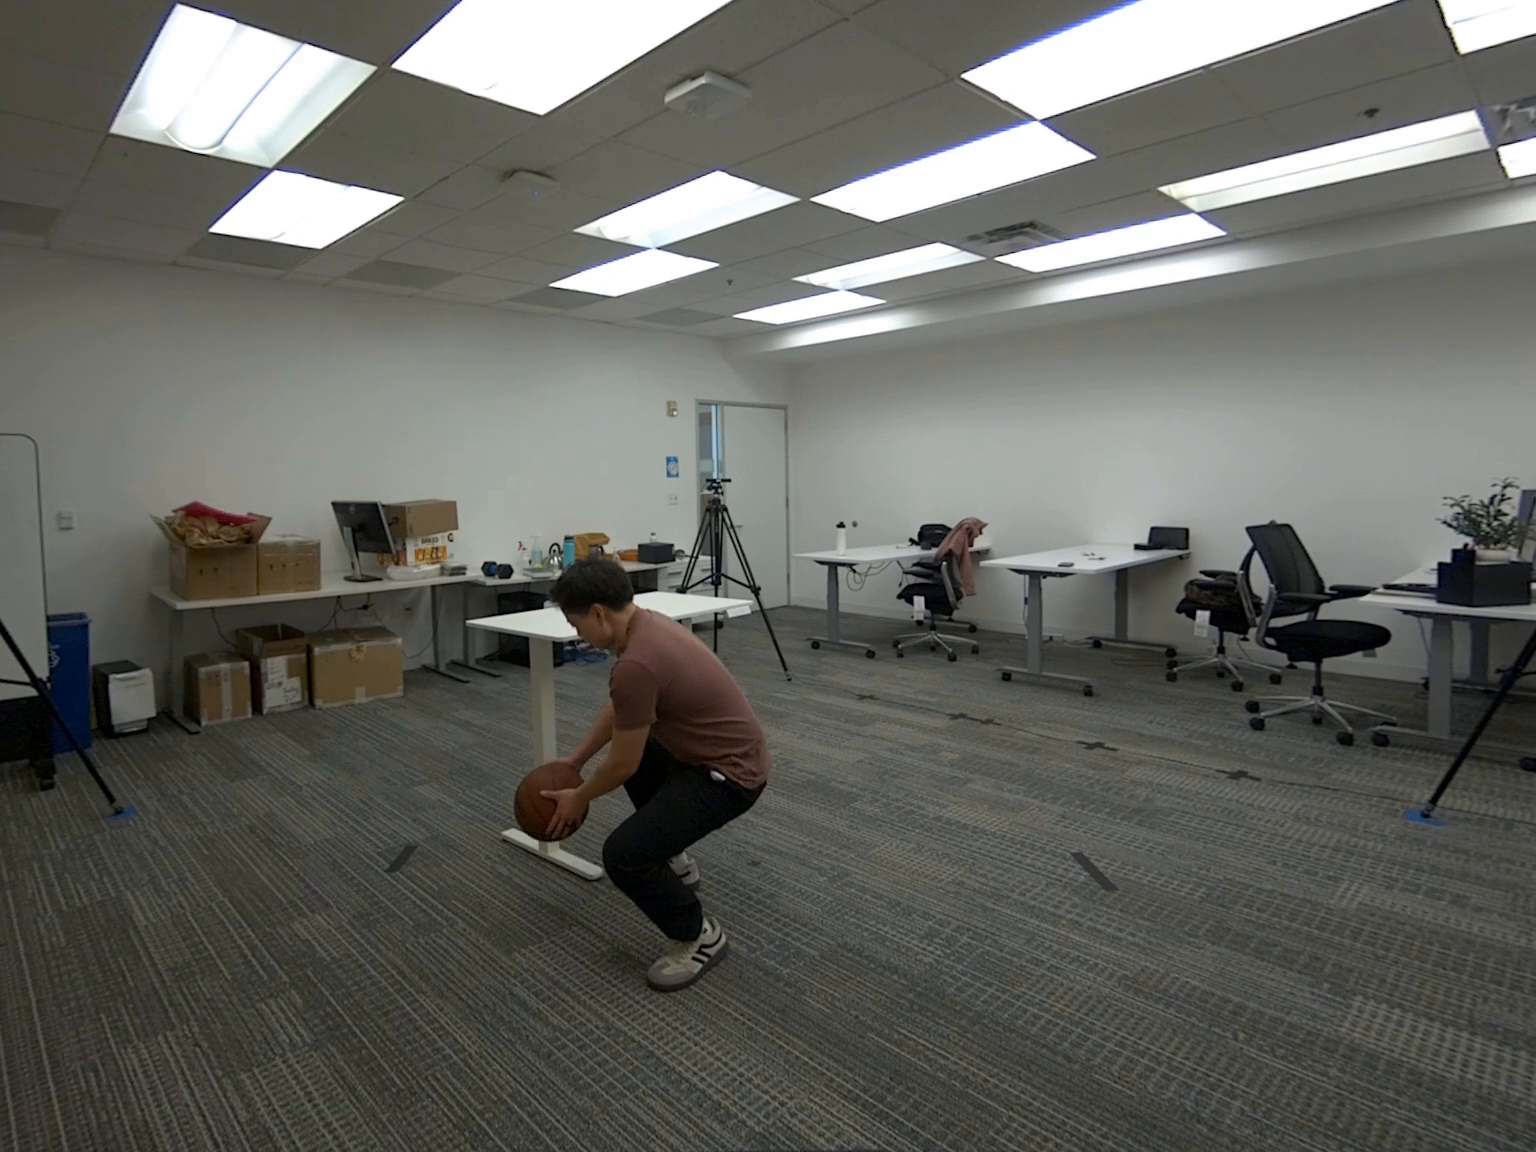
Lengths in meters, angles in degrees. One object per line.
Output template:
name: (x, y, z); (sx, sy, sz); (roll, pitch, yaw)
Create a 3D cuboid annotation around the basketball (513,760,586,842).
basketball: (-0.674, 0.705, 2.699); (0.236, 0.235, 0.237); (-1, 5, -2)
